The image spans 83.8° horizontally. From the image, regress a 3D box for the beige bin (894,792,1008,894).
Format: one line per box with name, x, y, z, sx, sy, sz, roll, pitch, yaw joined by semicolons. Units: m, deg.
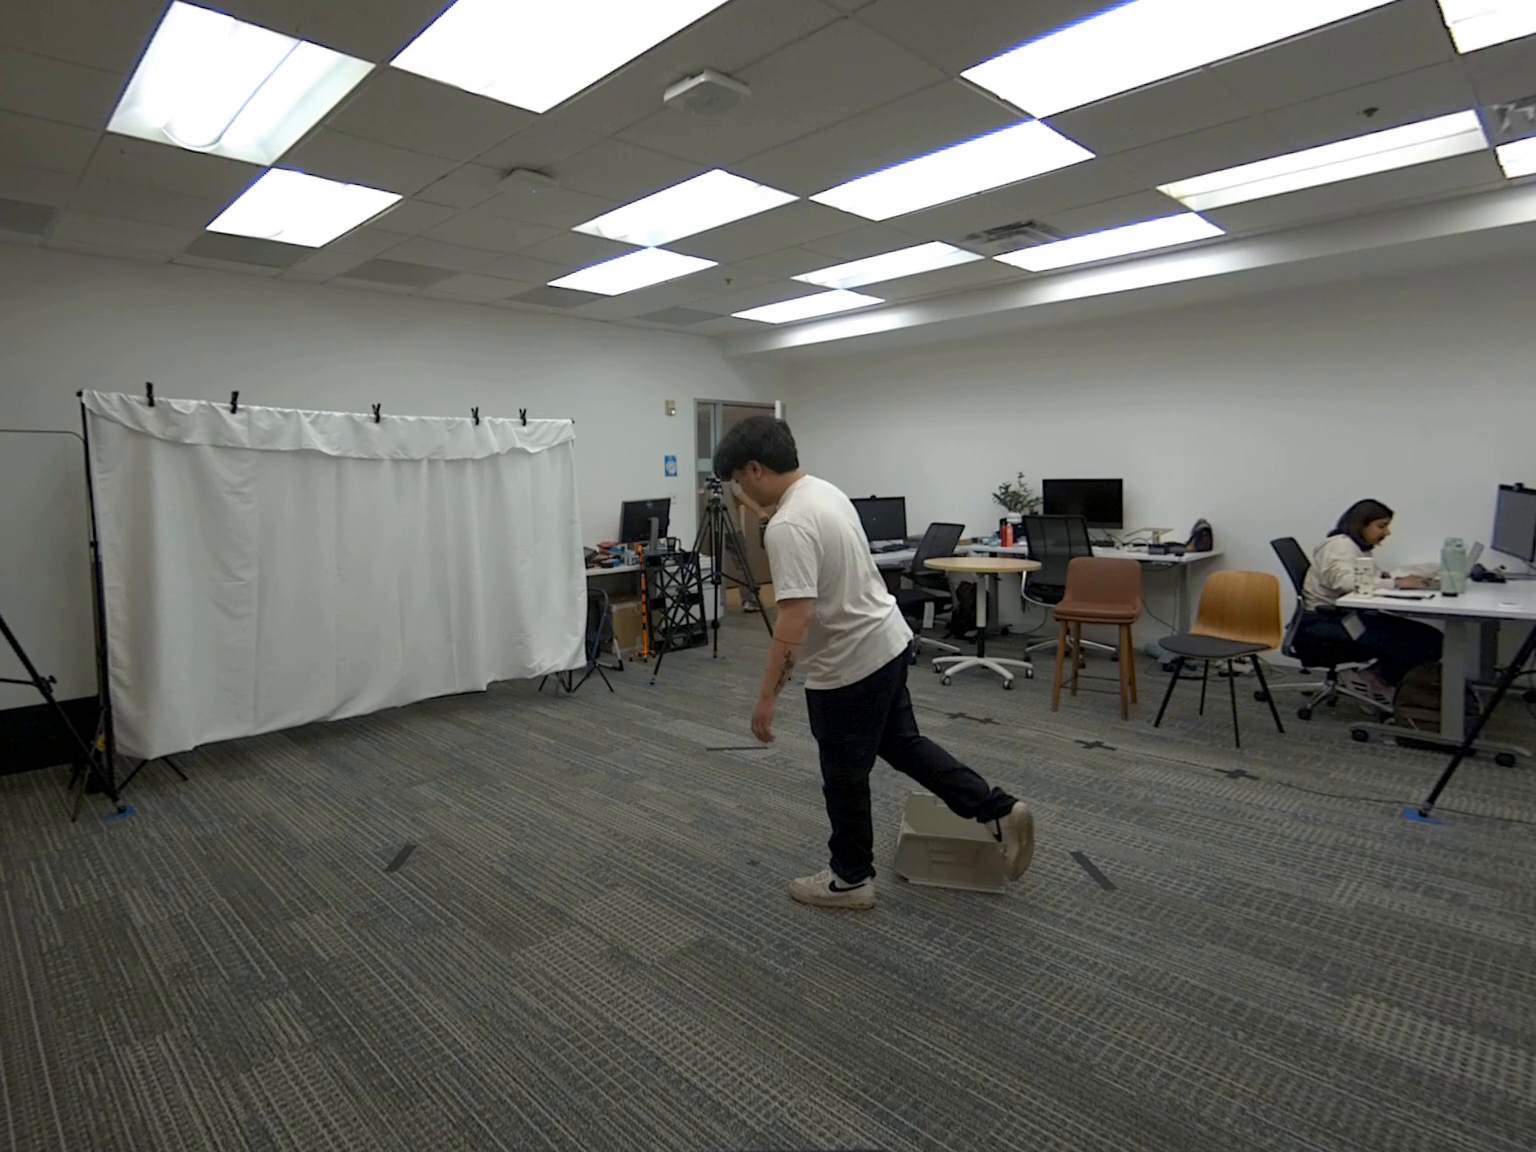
beige bin;0.664;0.946;3.080;0.383;0.188;0.418;2;6;14
